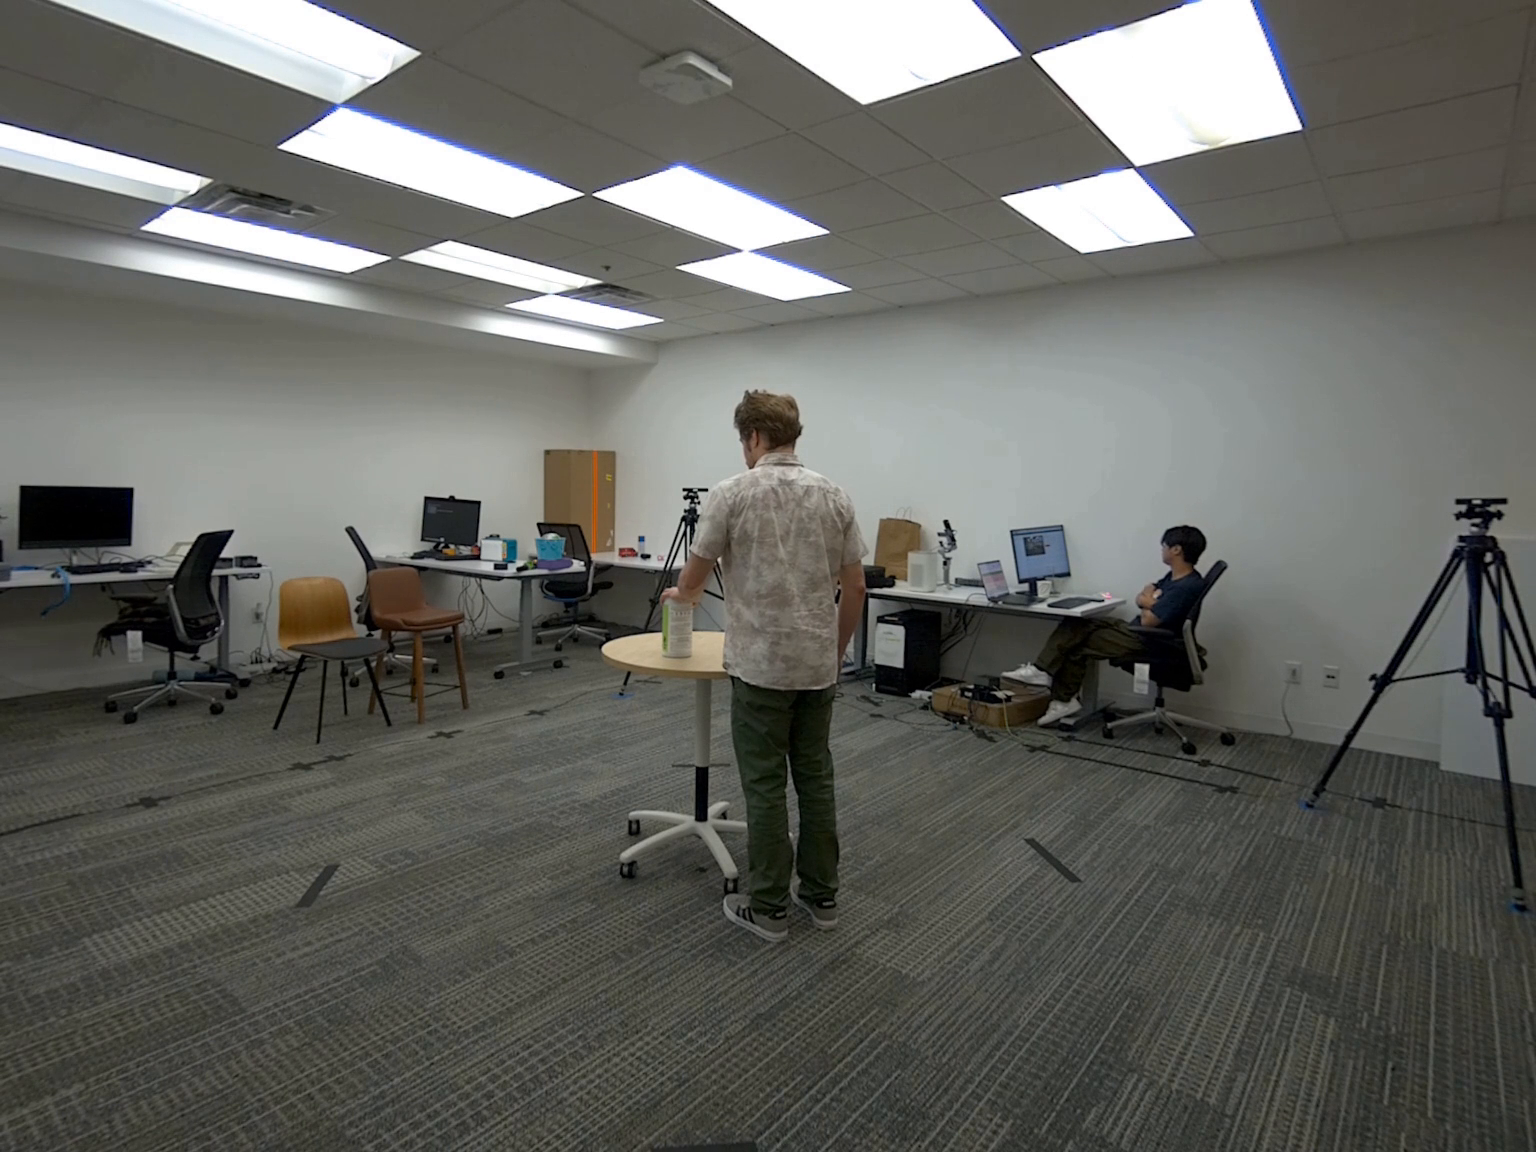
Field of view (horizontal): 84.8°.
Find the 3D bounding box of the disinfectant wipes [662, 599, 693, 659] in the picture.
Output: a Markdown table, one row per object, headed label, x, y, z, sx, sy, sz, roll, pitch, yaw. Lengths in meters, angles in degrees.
| label | x | y | z | sx | sy | sz | roll | pitch | yaw |
| --- | --- | --- | --- | --- | --- | --- | --- | --- | --- |
| disinfectant wipes | -0.333 | 0.177 | 3.050 | 0.118 | 0.217 | 0.118 | 0 | 4 | -2 |
